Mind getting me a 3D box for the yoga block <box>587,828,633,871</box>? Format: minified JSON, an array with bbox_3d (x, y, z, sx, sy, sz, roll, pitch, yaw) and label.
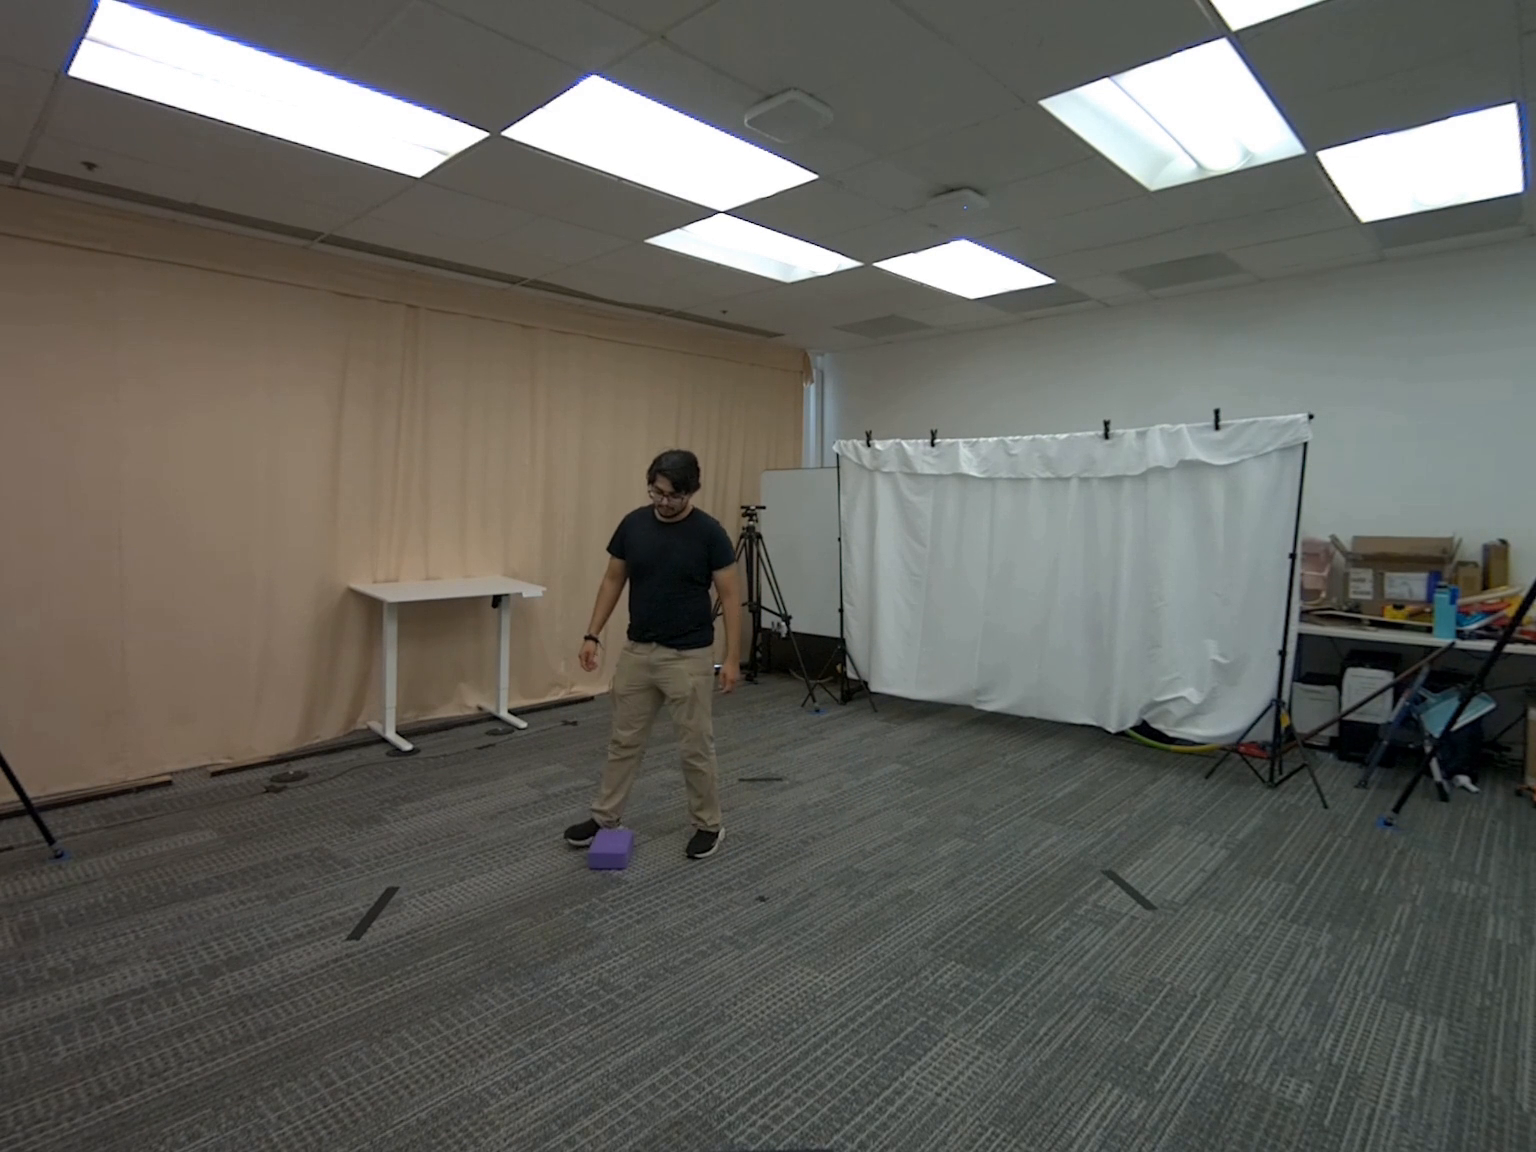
[{"bbox_3d":[-0.619,1.077,3.334,0.149,0.076,0.229,0,3,-1],"label":"yoga block"}]
